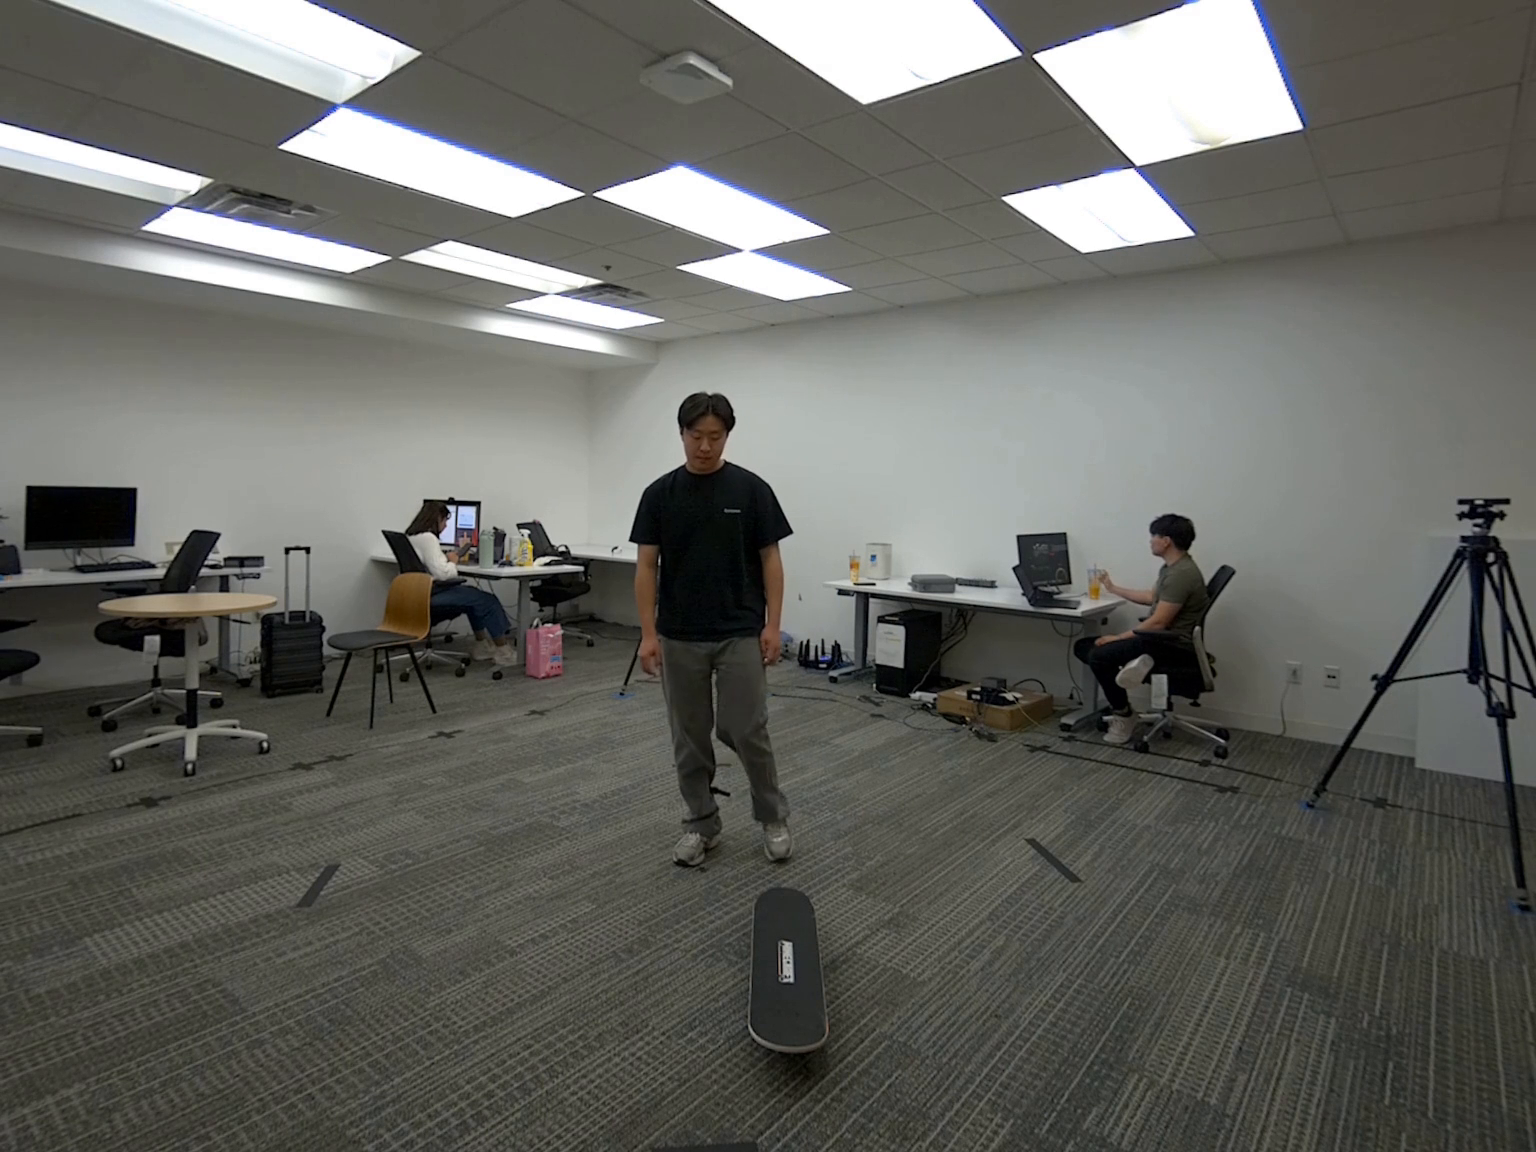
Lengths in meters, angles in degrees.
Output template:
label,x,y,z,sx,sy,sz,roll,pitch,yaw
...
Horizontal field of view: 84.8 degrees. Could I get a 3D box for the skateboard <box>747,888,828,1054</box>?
label,x,y,z,sx,sy,sz,roll,pitch,yaw
skateboard,0.045,1.094,2.355,0.194,0.110,0.787,2,6,0
